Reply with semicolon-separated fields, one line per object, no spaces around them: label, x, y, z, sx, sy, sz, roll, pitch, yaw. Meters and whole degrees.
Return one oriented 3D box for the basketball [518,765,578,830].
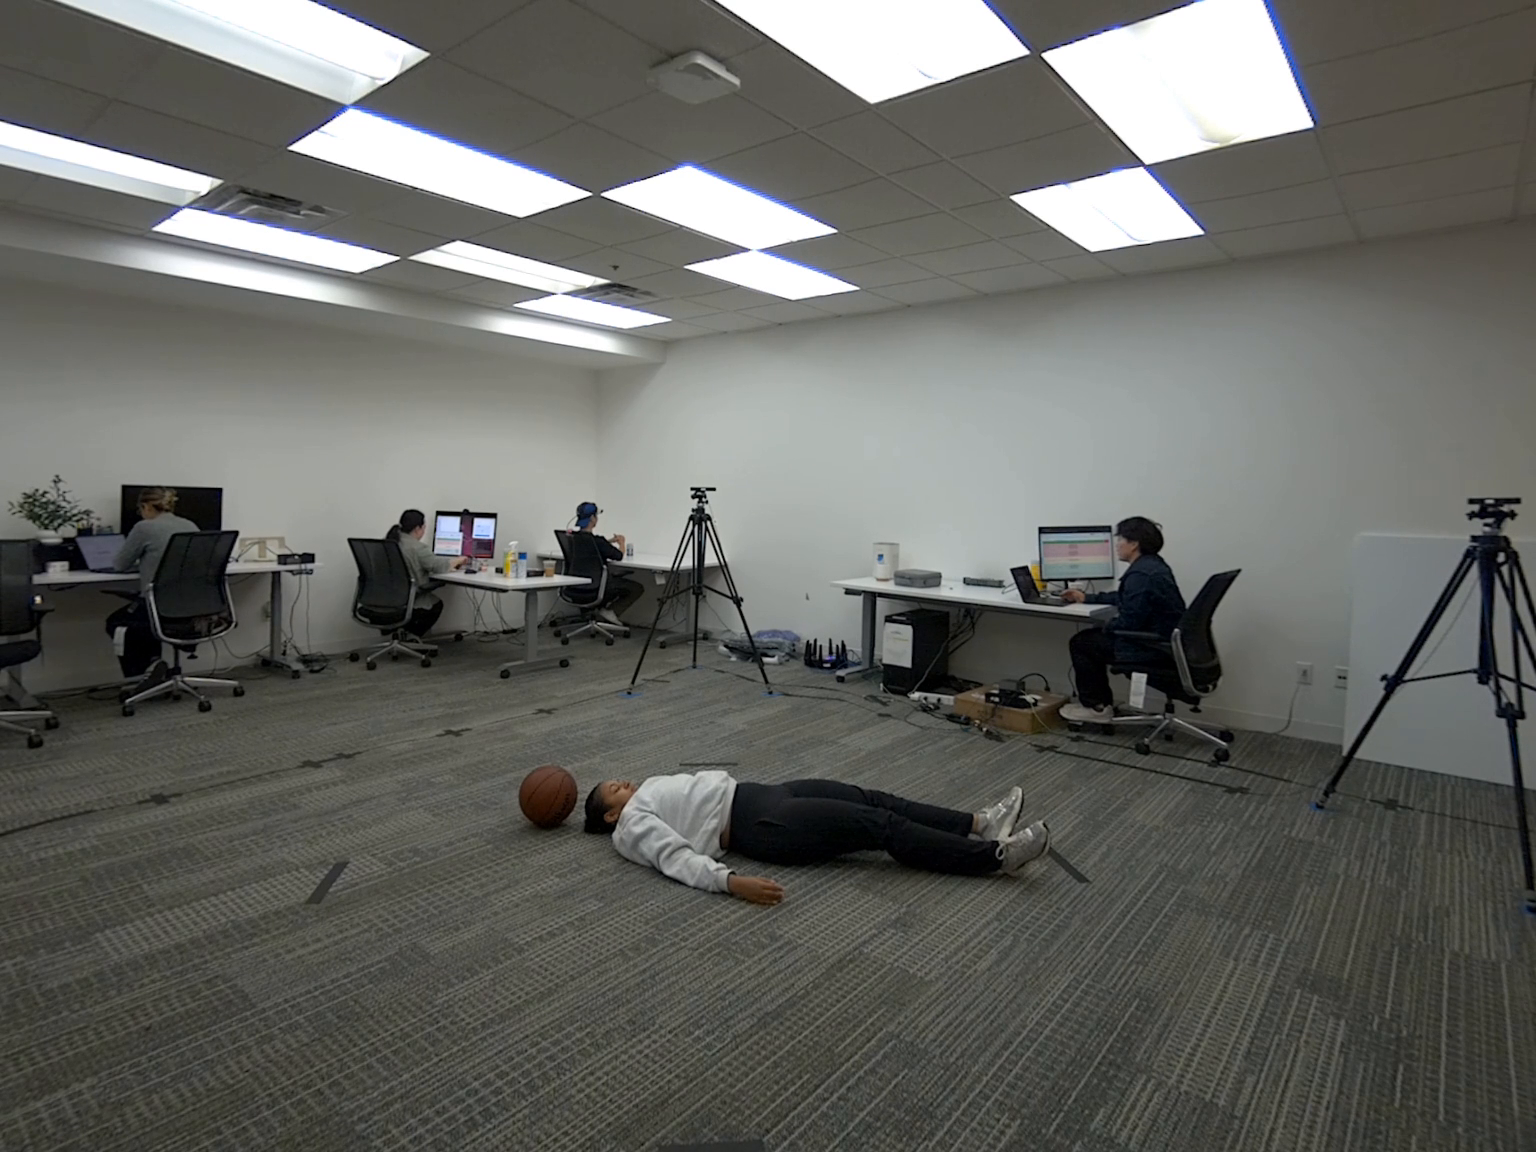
basketball;-0.918;0.897;3.490;0.236;0.234;0.238;-2;8;-2
